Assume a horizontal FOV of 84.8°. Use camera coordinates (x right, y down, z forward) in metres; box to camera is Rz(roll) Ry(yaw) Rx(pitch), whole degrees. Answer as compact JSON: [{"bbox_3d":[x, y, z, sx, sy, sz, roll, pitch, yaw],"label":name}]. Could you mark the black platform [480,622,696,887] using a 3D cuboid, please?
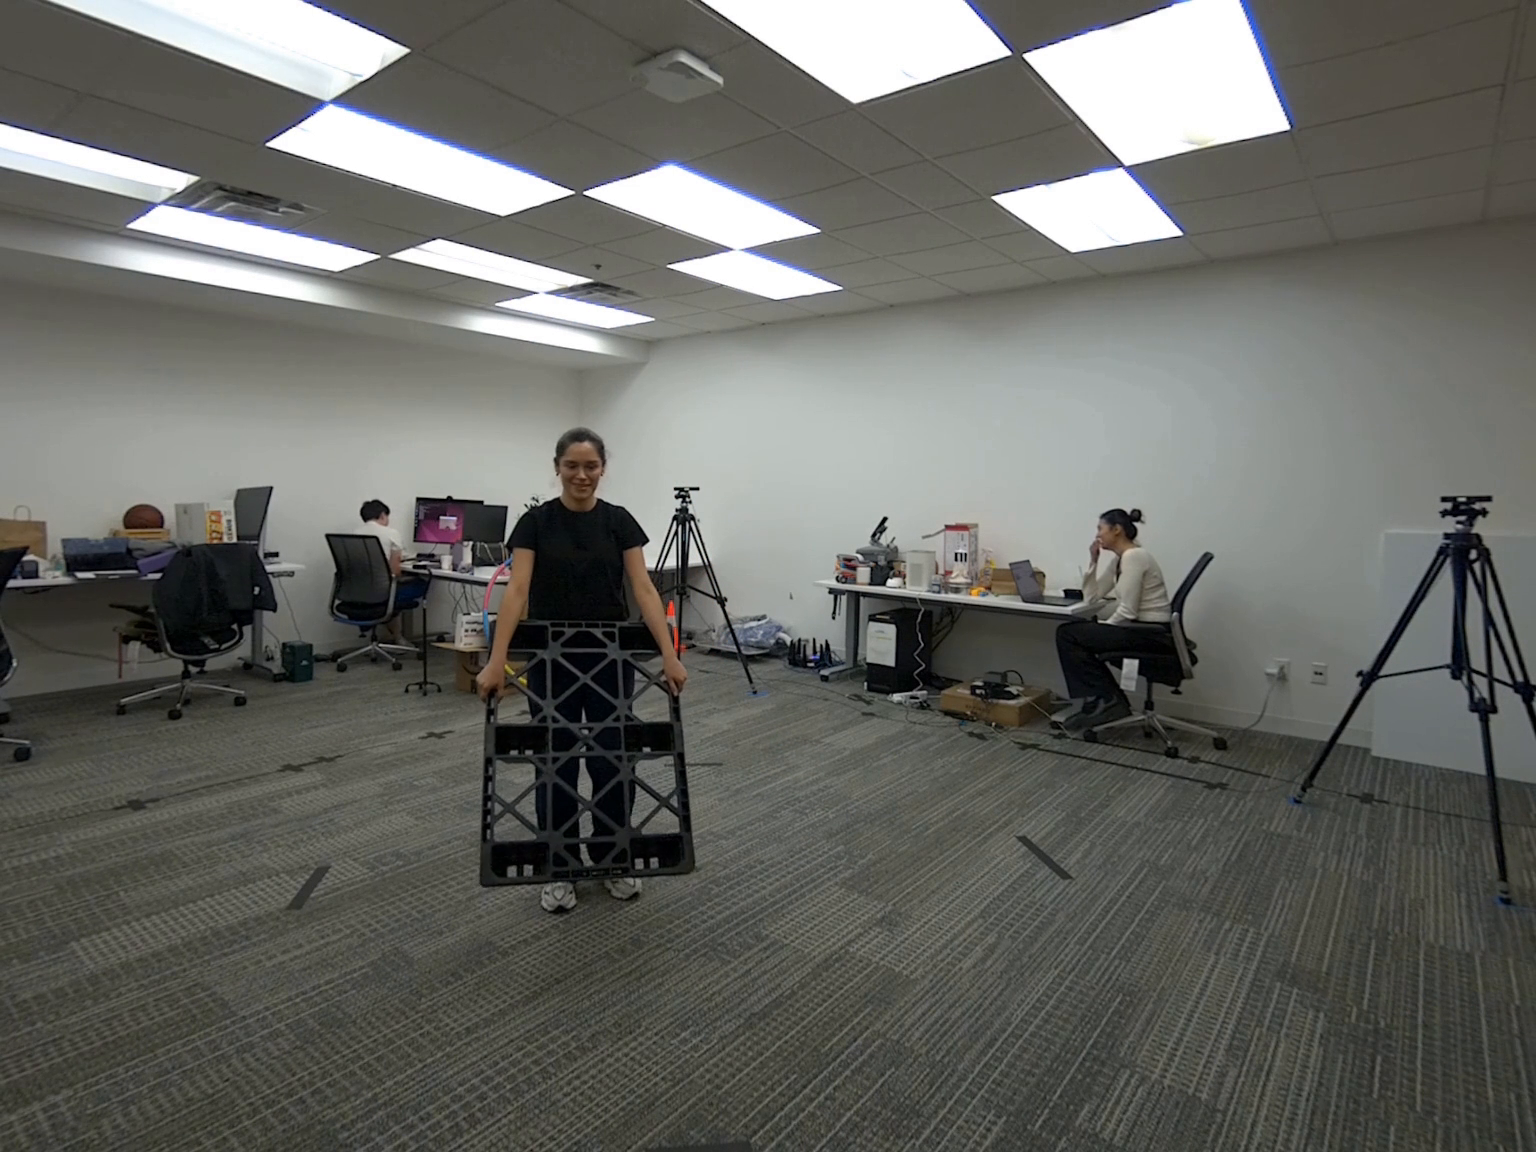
[{"bbox_3d":[-0.547,0.518,2.634,0.595,0.829,0.141,3,-32,-15],"label":"black platform"}]
